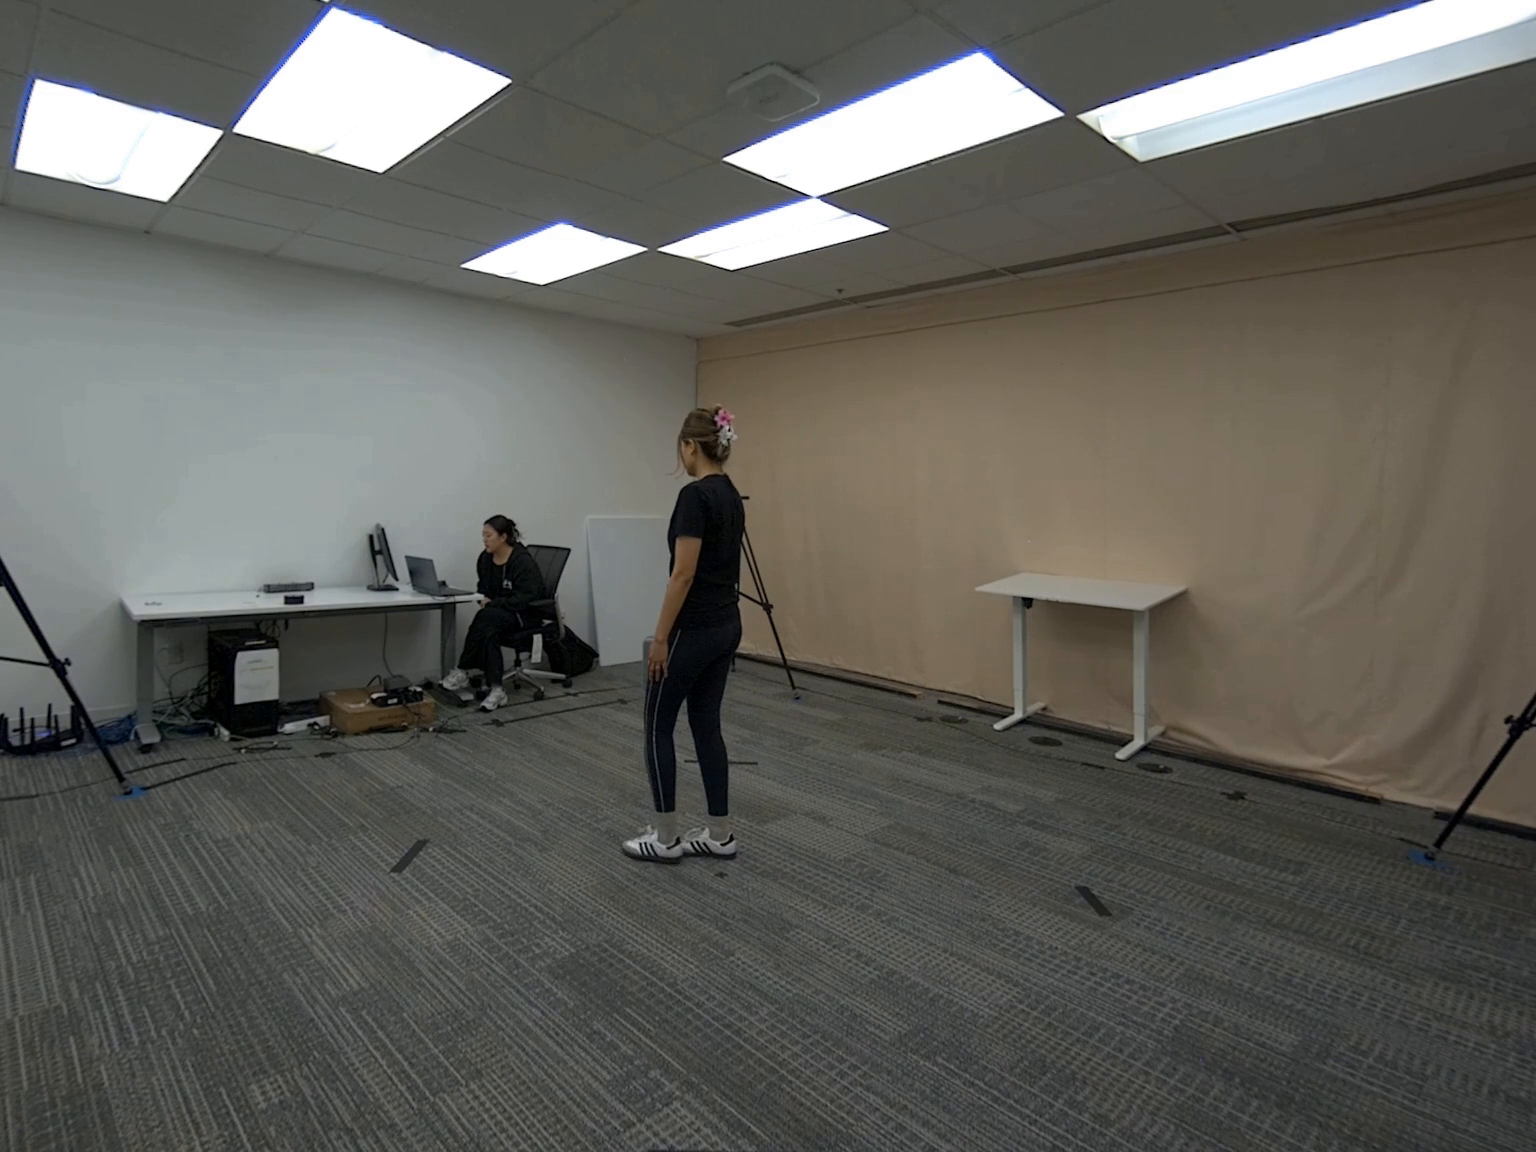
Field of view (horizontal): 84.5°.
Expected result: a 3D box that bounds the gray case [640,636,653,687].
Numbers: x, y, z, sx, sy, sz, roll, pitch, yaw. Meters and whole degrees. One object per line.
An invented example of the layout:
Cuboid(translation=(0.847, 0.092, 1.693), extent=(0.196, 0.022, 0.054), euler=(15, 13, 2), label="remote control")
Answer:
Cuboid(translation=(-0.428, 0.390, 3.665), extent=(0.262, 0.258, 0.103), euler=(10, 13, 21), label="gray case")
